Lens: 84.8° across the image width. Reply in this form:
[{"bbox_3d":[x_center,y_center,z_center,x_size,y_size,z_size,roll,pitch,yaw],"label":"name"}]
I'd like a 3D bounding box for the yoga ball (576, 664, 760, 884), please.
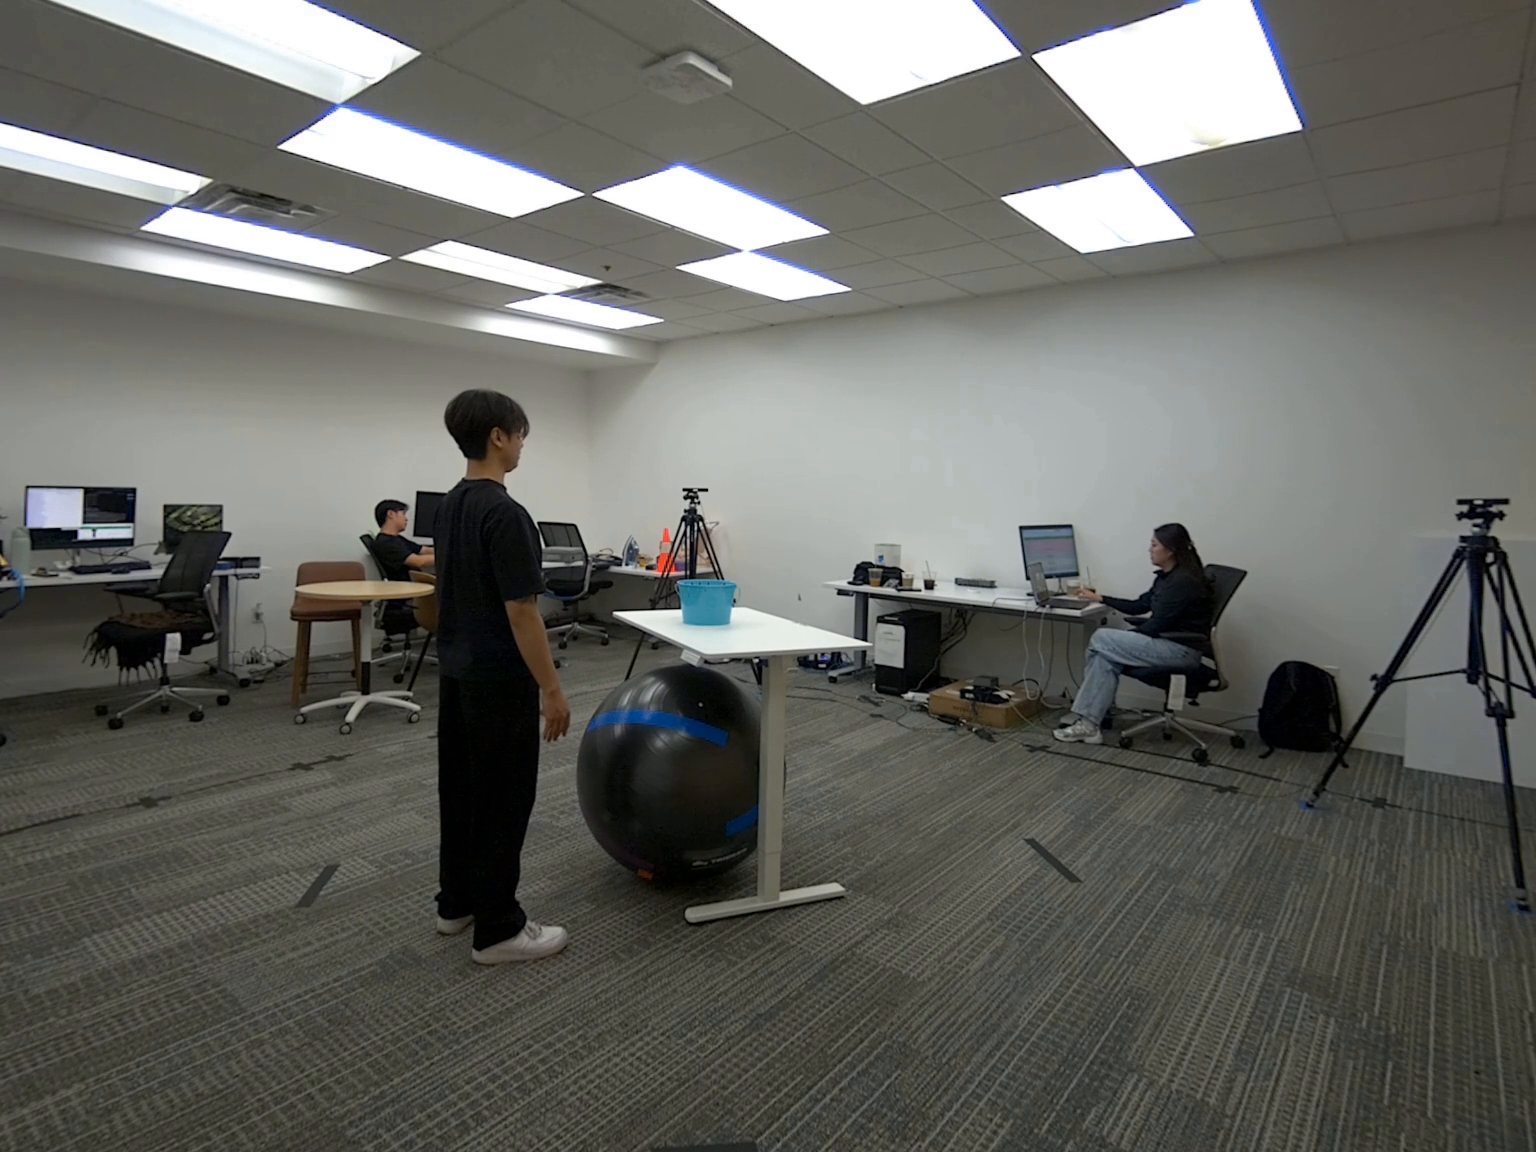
[{"bbox_3d":[-0.319,0.709,3.089,0.757,0.756,0.762,1,4,-2],"label":"yoga ball"}]
